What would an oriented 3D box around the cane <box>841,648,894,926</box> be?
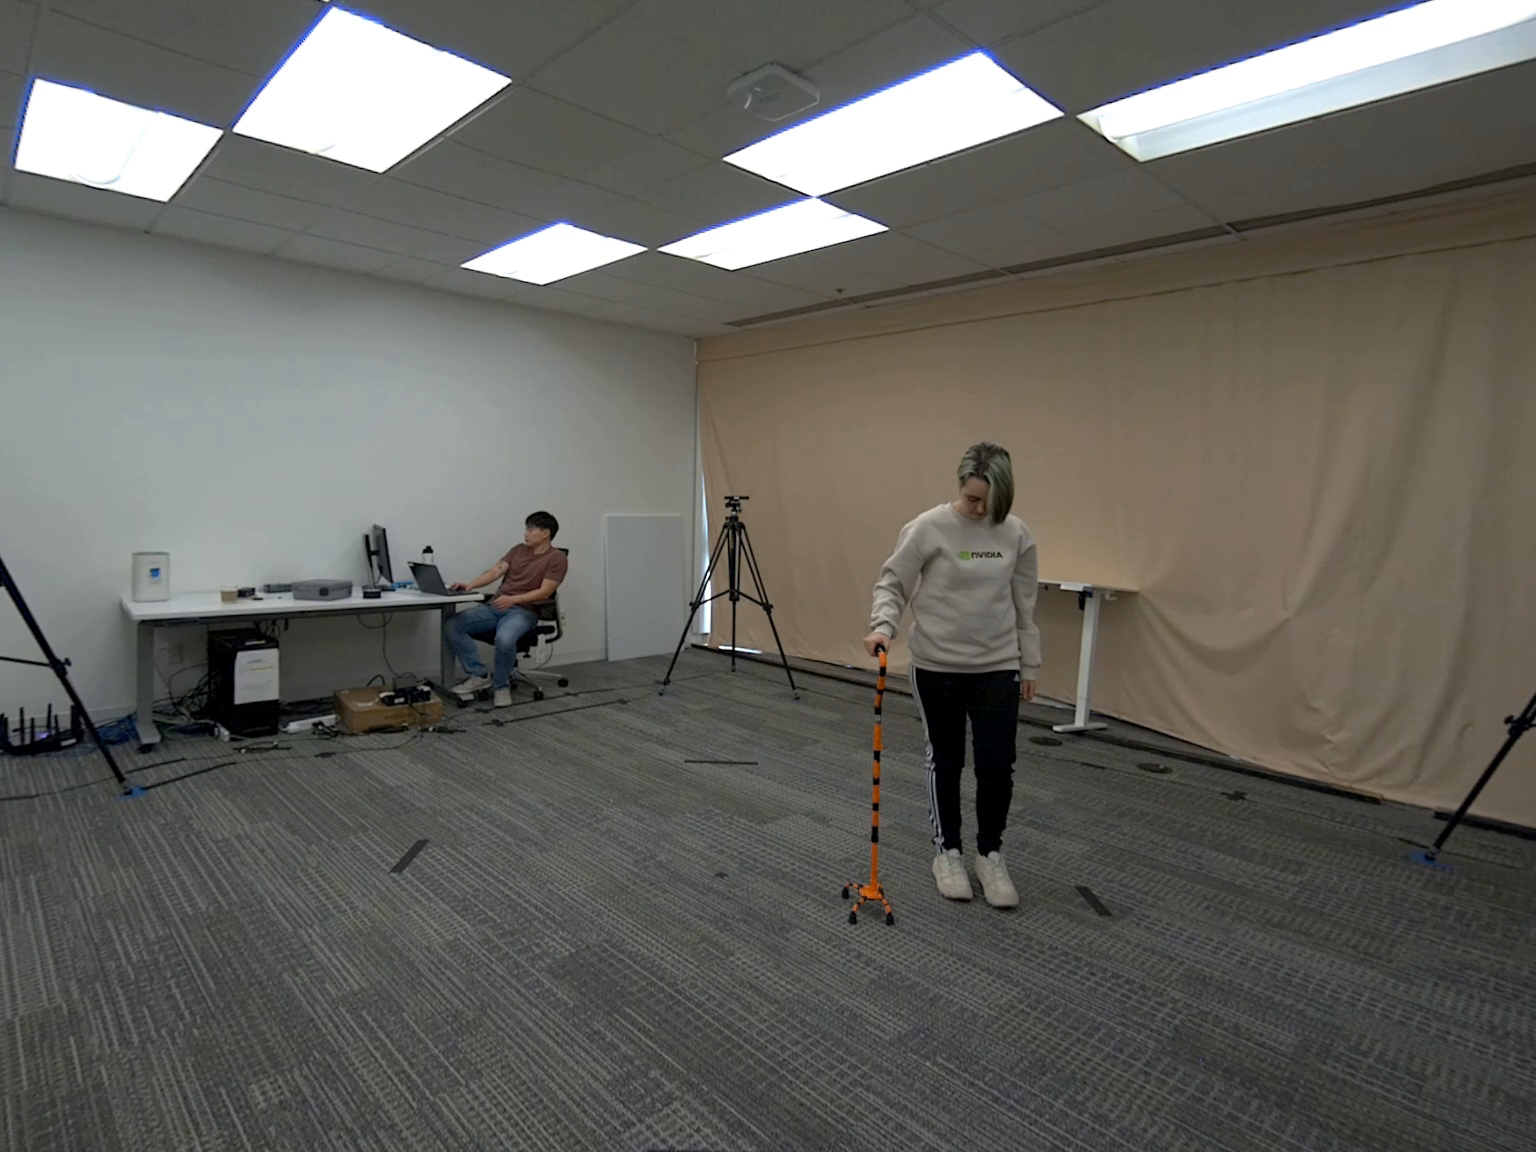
[{"bbox_3d":[0.341,0.686,2.840,0.151,0.906,0.207,1,3,-3],"label":"cane"}]
